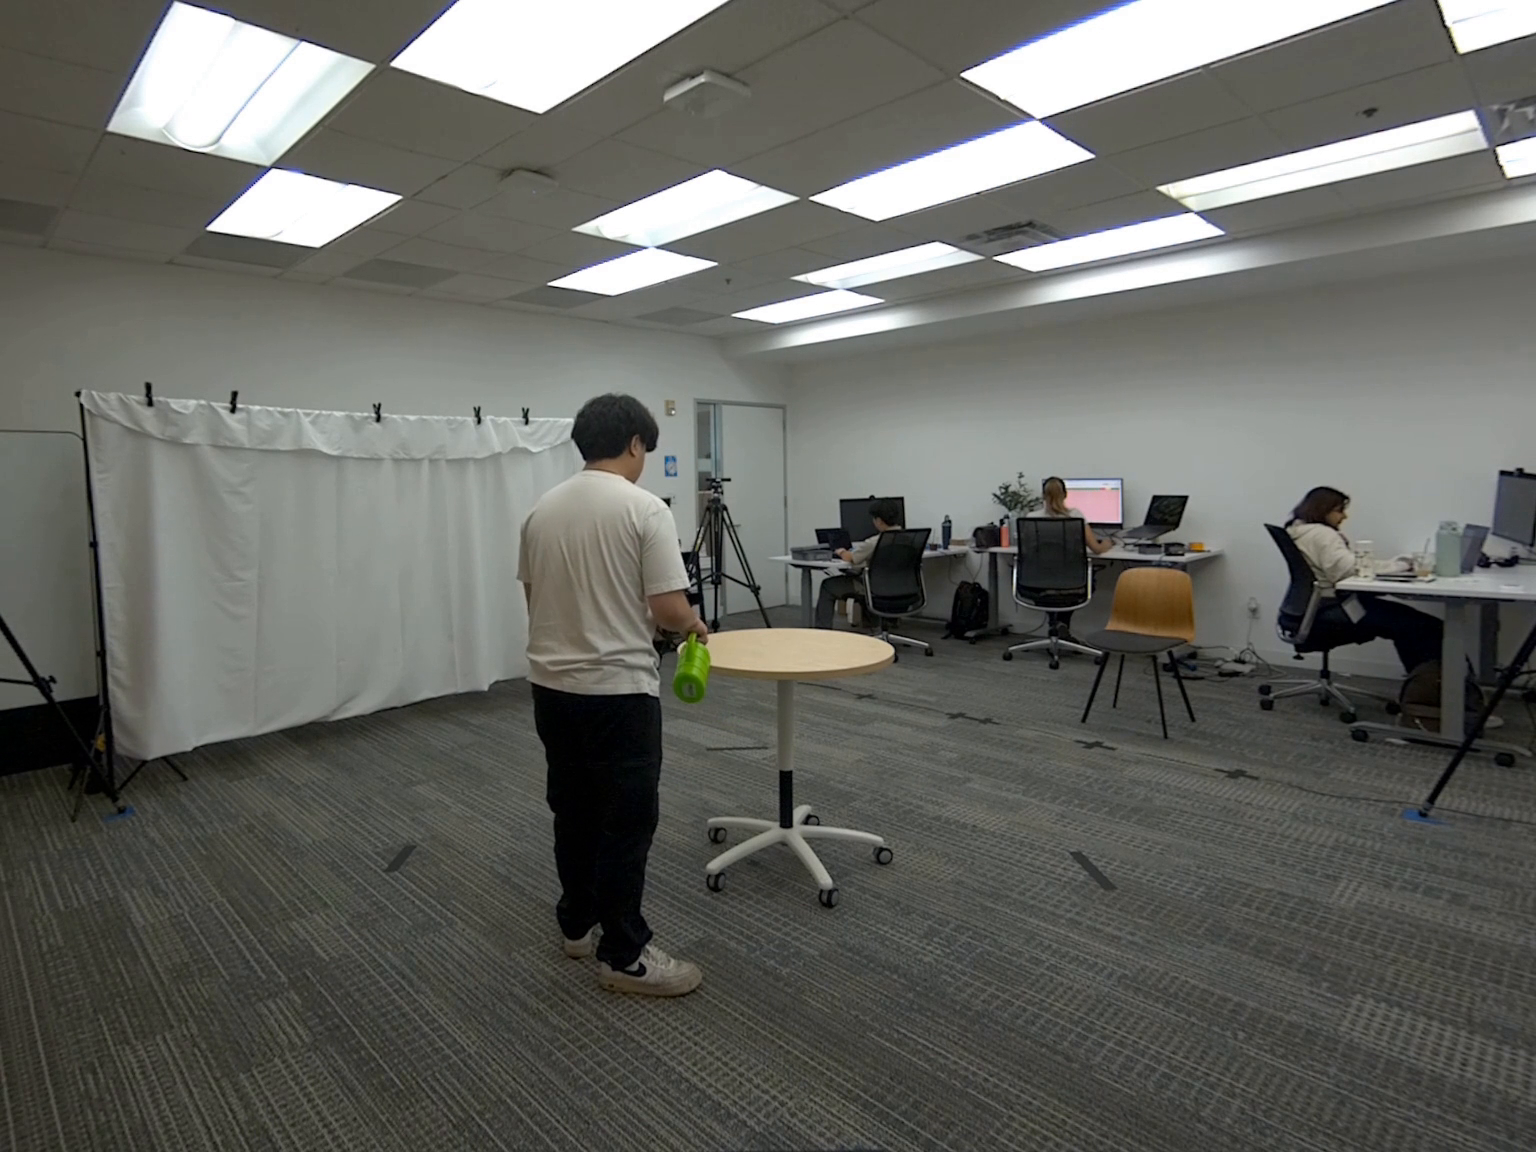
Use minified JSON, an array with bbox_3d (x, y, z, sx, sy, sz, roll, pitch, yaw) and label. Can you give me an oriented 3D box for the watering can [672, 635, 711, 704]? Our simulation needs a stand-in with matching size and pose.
[{"bbox_3d":[-0.211,0.305,2.567,0.099,0.269,0.181,-5,43,10],"label":"watering can"}]
